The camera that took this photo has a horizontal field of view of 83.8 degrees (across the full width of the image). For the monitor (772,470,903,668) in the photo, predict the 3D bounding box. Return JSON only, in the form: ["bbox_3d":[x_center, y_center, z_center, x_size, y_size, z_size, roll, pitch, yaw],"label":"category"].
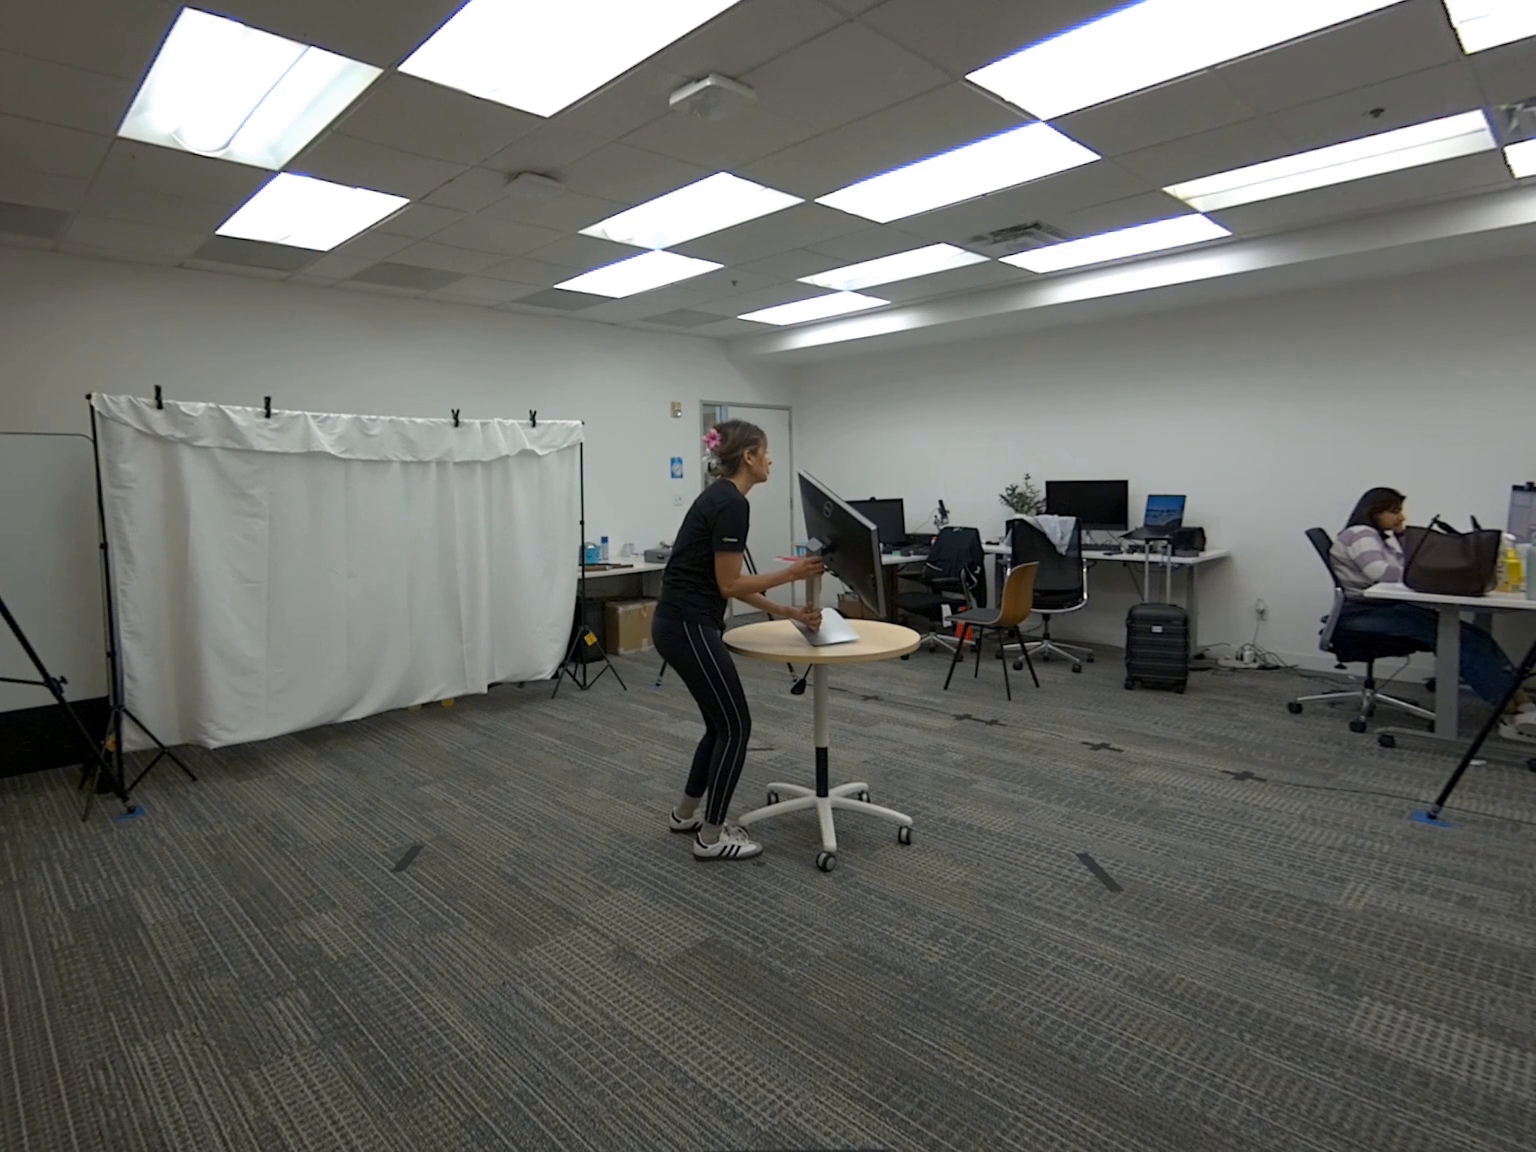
[{"bbox_3d":[0.232,-0.046,3.151,0.184,0.512,0.559,-9,27,-24],"label":"monitor"}]
